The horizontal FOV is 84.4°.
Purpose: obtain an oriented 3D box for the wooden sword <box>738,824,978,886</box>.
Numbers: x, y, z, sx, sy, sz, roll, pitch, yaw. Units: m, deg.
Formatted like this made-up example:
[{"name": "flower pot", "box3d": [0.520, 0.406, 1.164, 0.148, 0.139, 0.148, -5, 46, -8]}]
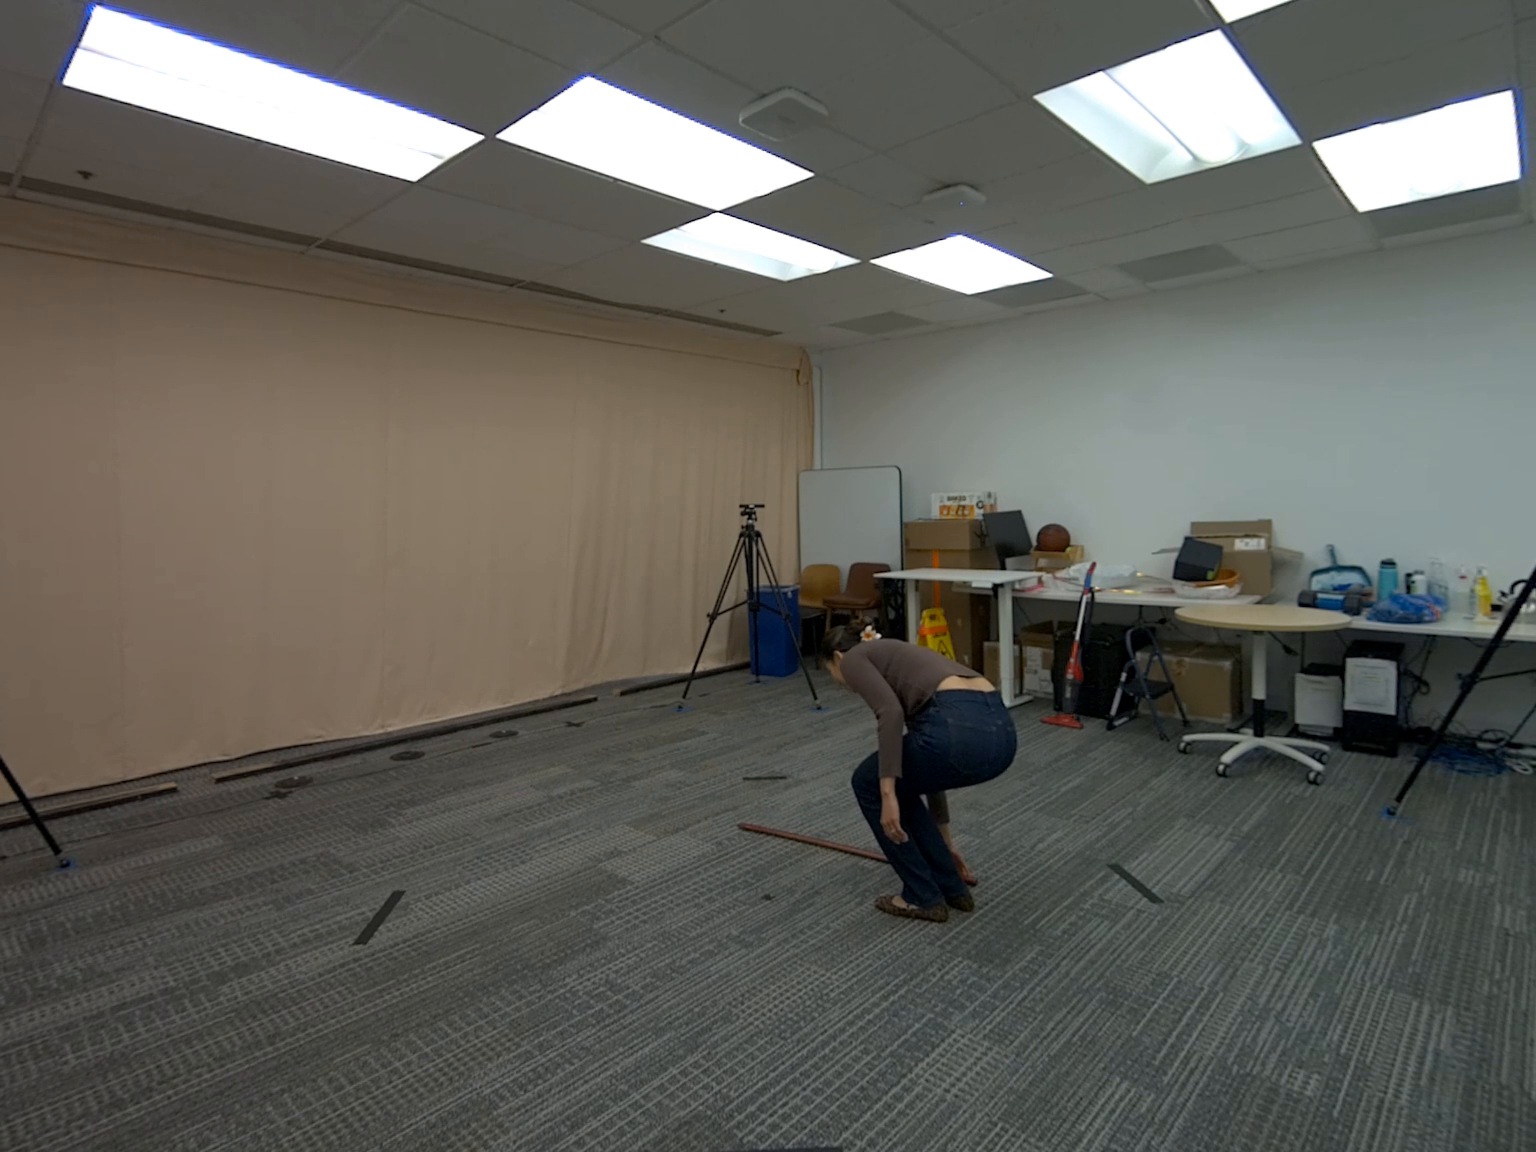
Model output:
[{"name": "wooden sword", "box3d": [0.308, 1.075, 3.340, 1.056, 0.024, 0.049, 1, -31, 34]}]
